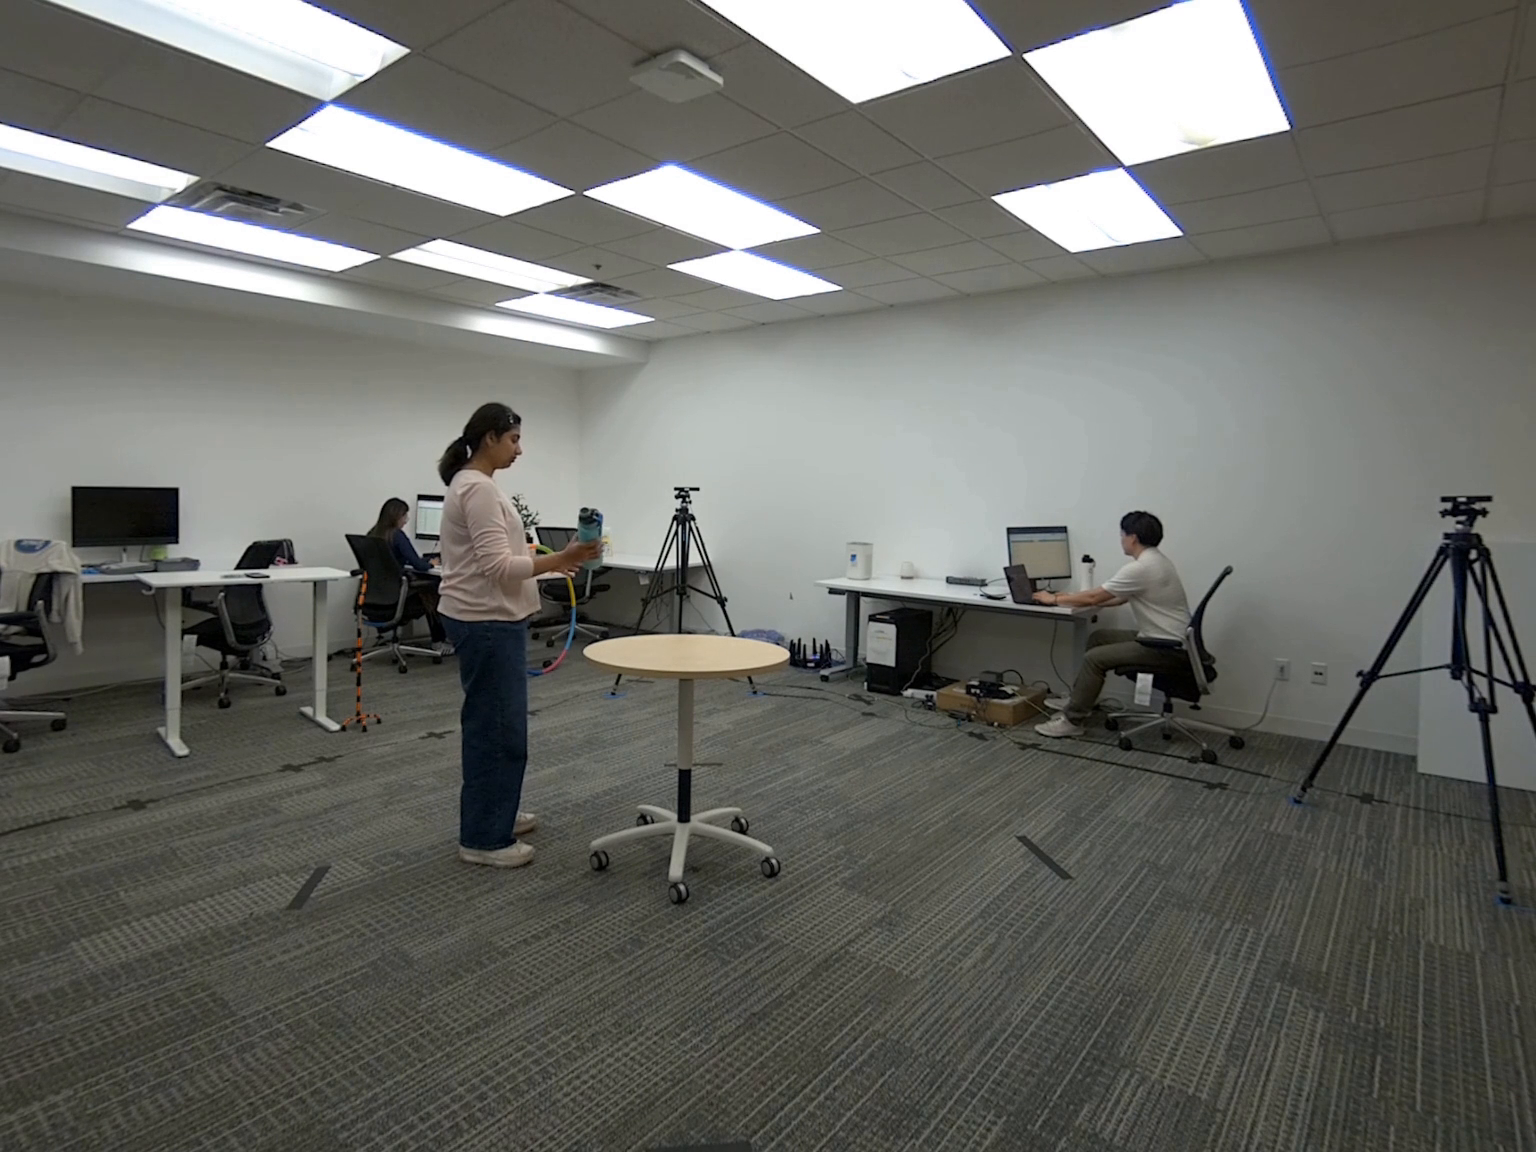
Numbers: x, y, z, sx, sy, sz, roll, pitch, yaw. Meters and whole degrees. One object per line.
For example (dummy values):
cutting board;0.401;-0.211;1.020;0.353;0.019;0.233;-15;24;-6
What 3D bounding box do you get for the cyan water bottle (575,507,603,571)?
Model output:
cyan water bottle;-0.675;-0.149;3.165;0.092;0.095;0.277;4;-41;-6
